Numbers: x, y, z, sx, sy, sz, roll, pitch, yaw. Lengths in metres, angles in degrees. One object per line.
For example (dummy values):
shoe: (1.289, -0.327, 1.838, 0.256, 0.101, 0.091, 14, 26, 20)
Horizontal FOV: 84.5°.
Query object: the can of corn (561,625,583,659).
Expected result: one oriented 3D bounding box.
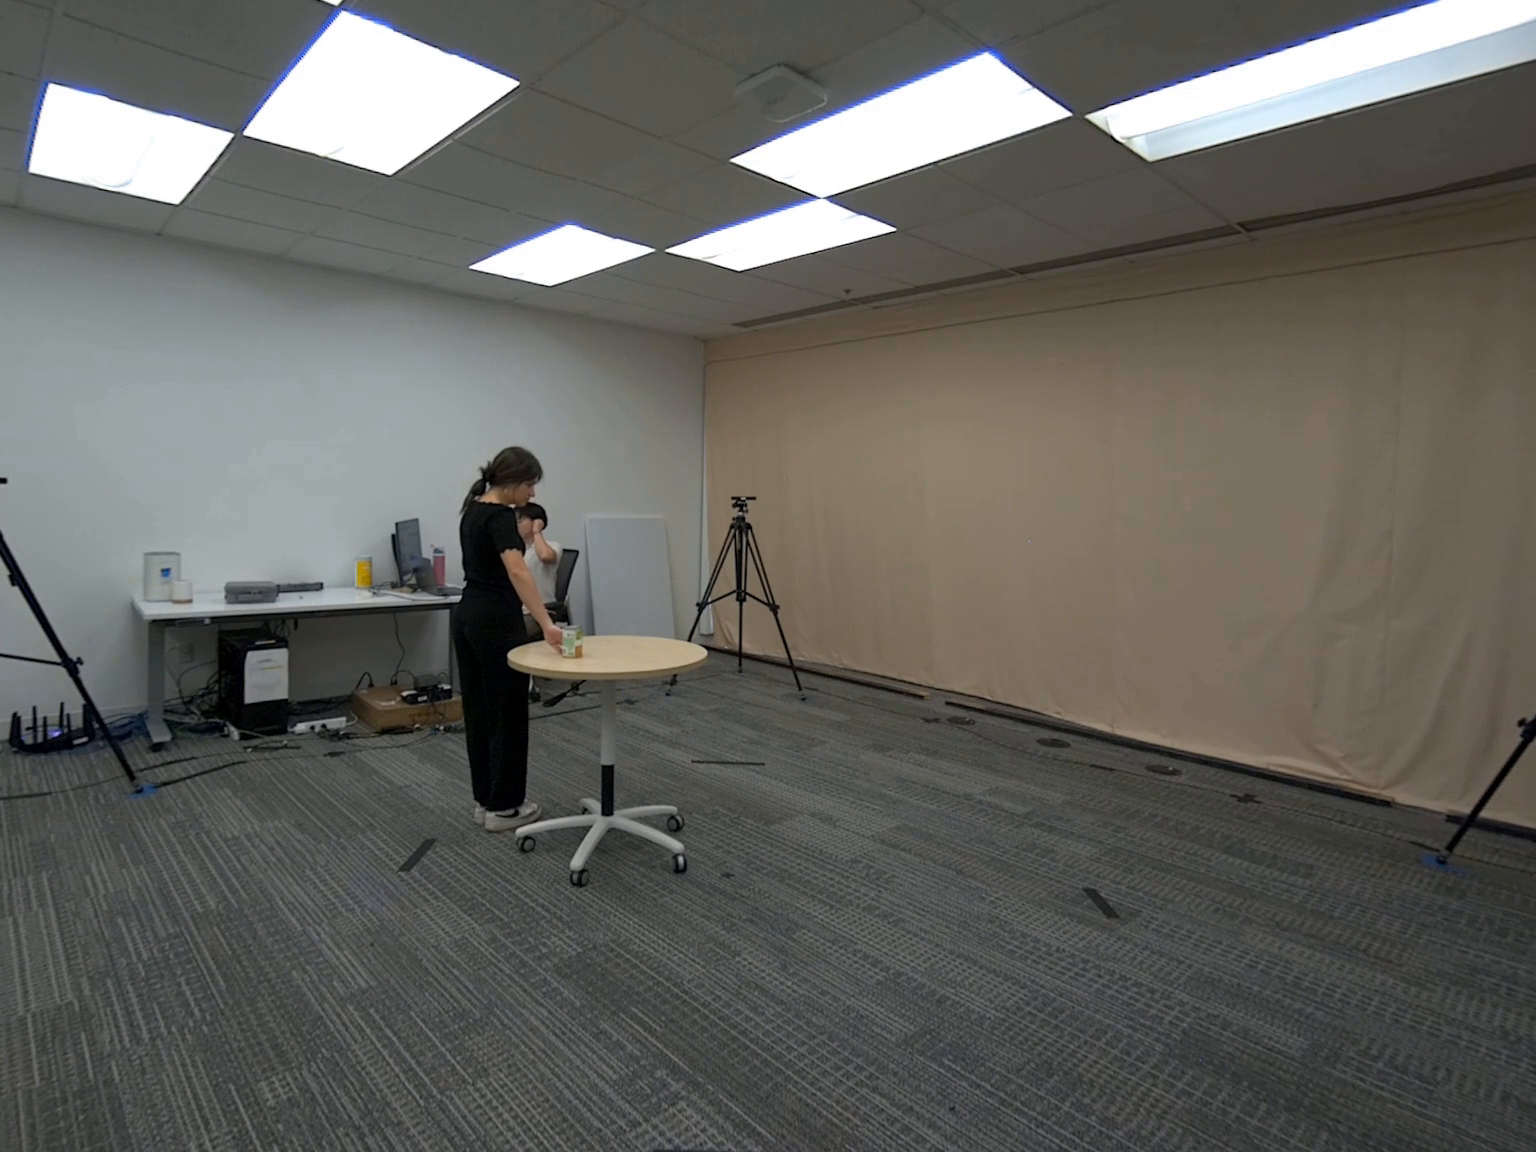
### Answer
can of corn: (-0.758, 0.254, 3.161, 0.074, 0.111, 0.074, -3, 0, -1)
